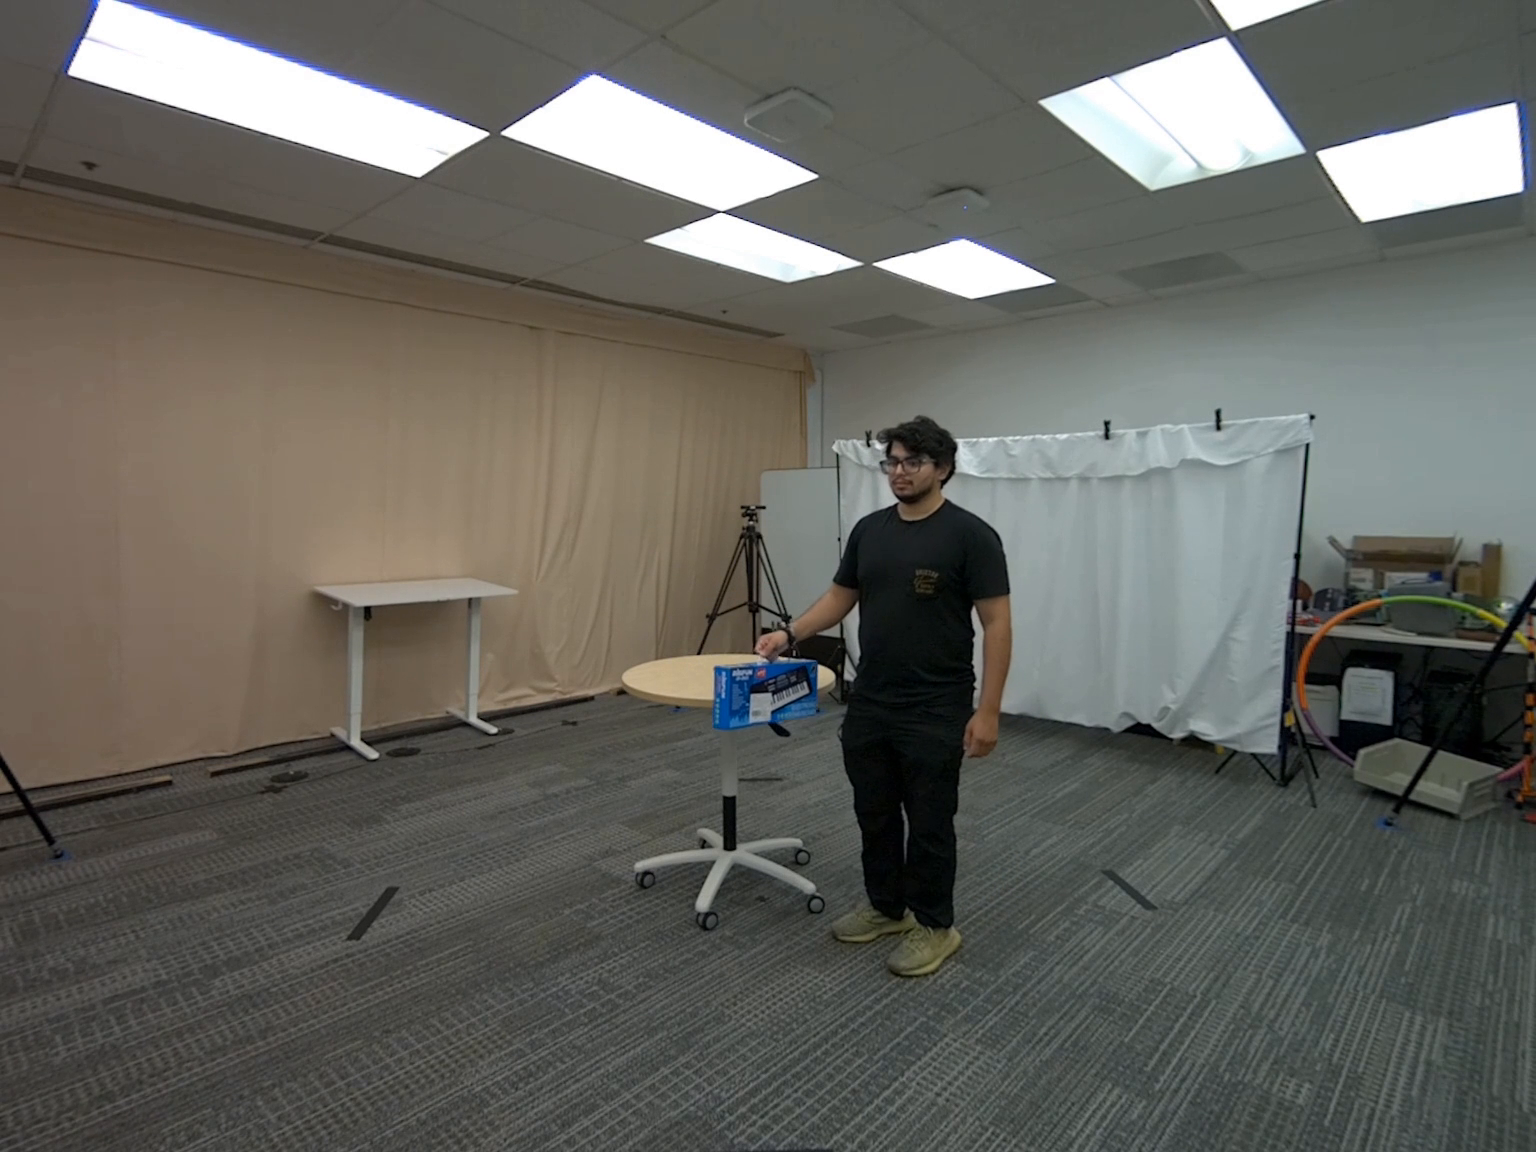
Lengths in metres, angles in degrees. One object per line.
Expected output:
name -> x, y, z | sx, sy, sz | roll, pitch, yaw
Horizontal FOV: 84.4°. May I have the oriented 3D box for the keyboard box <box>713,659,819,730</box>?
keyboard box -> 0.007, 0.350, 2.506 | 0.061, 0.176, 0.422 | -3, -4, 39
